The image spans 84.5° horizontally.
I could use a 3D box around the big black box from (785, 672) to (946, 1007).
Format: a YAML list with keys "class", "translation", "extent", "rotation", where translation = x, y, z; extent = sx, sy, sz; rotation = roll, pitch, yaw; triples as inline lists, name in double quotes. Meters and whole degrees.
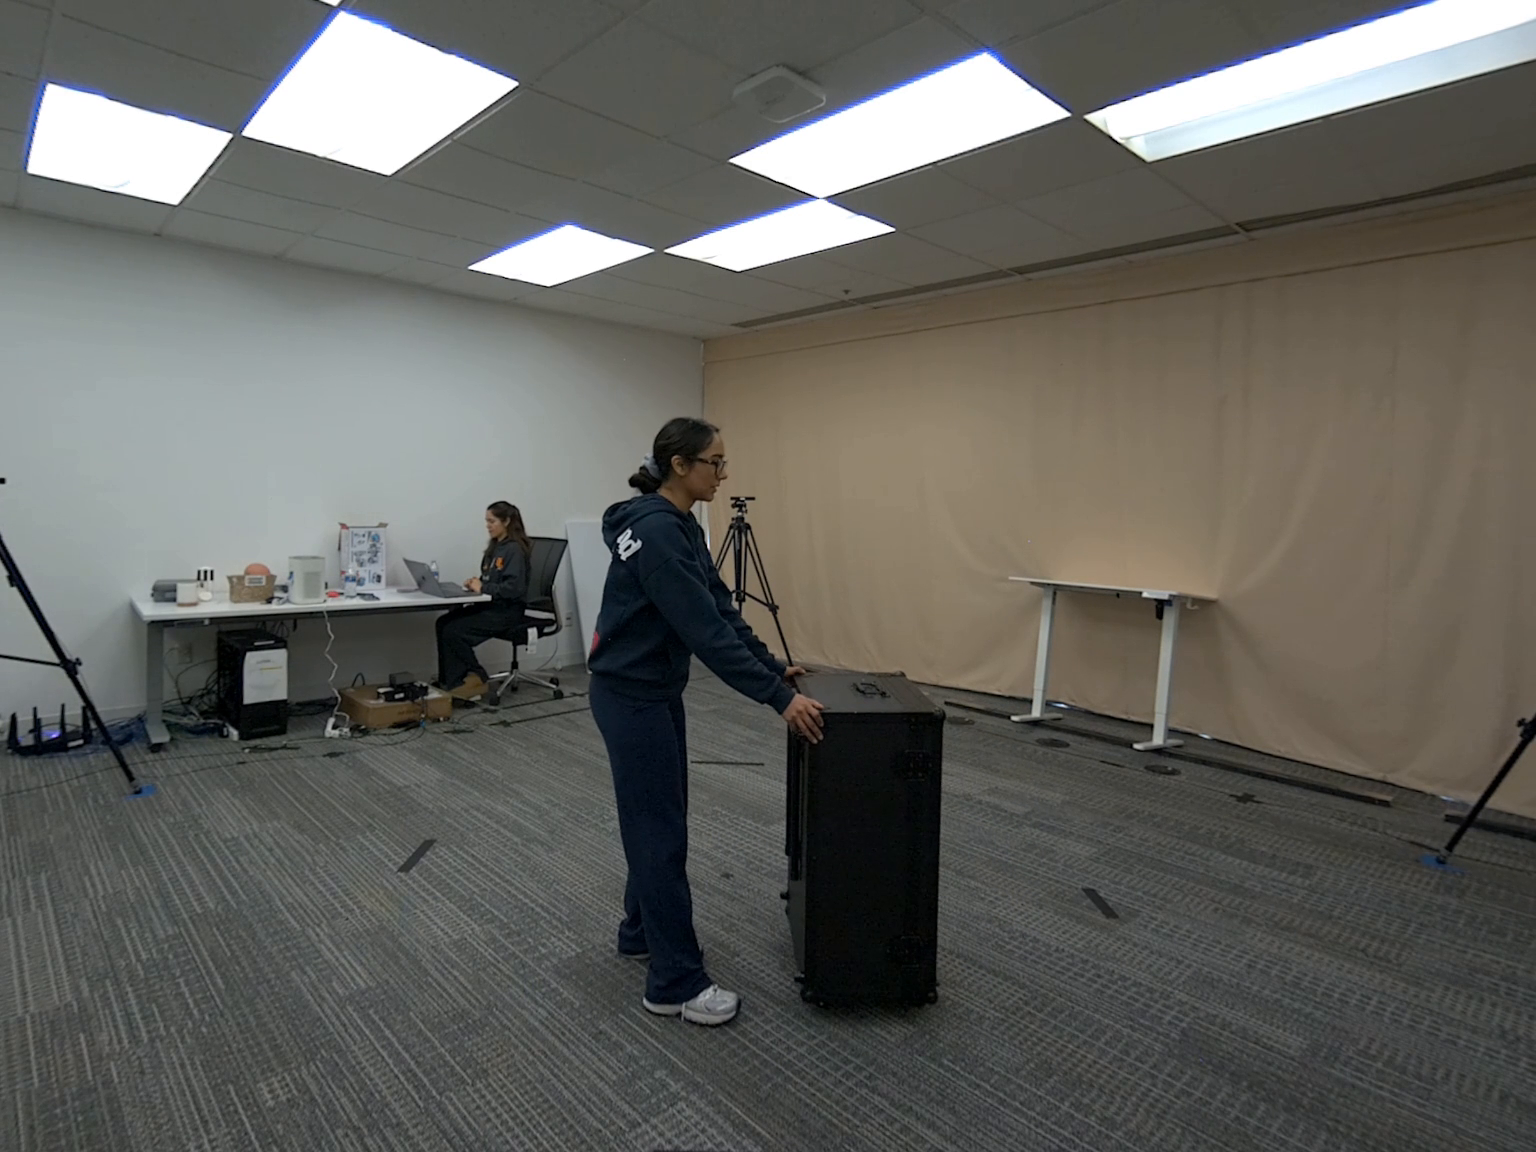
- class: "big black box"
  translation: [0.247, 0.754, 2.432]
  extent: [0.395, 0.859, 0.524]
  rotation: [0, 5, -3]
